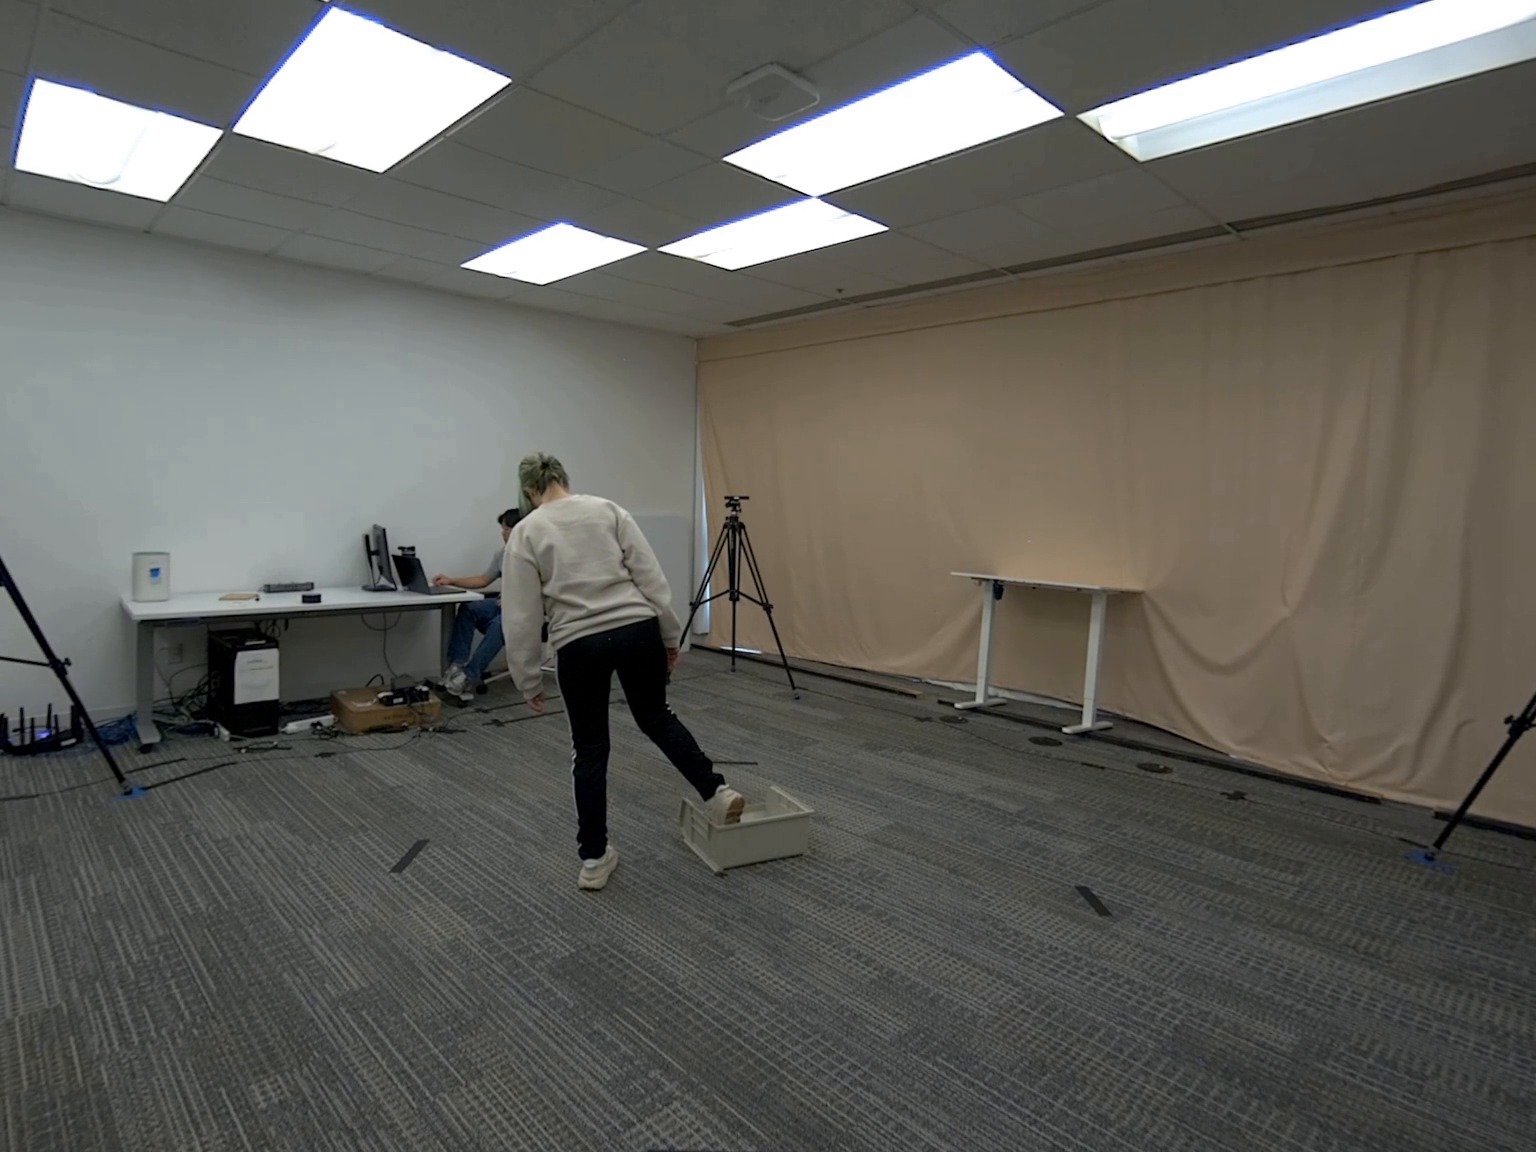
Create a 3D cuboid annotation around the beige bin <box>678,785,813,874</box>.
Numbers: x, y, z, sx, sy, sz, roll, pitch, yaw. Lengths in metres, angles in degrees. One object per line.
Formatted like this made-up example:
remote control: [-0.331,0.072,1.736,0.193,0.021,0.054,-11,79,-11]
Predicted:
beige bin: [-0.102,0.991,3.360,0.414,0.188,0.386,-1,7,-28]
